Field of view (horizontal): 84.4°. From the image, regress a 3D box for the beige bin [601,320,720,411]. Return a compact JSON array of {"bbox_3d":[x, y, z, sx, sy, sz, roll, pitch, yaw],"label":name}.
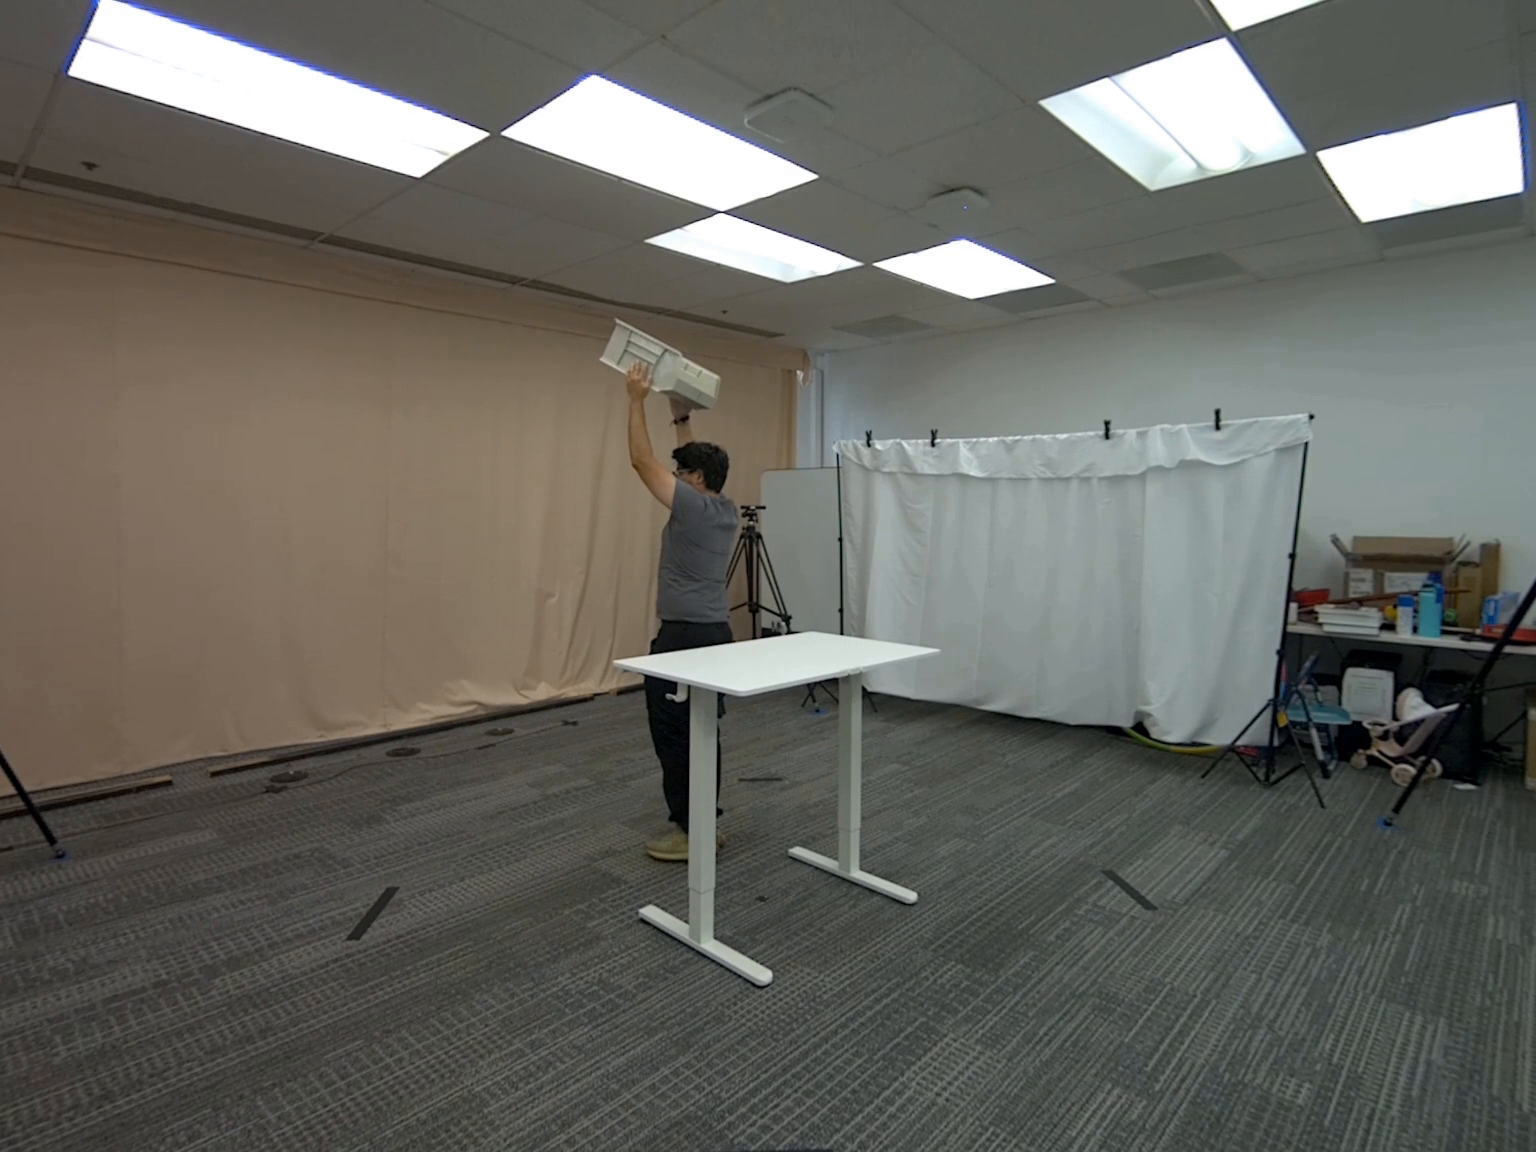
[{"bbox_3d":[-0.444,-0.870,3.559,0.386,0.189,0.413,31,10,18],"label":"beige bin"}]
